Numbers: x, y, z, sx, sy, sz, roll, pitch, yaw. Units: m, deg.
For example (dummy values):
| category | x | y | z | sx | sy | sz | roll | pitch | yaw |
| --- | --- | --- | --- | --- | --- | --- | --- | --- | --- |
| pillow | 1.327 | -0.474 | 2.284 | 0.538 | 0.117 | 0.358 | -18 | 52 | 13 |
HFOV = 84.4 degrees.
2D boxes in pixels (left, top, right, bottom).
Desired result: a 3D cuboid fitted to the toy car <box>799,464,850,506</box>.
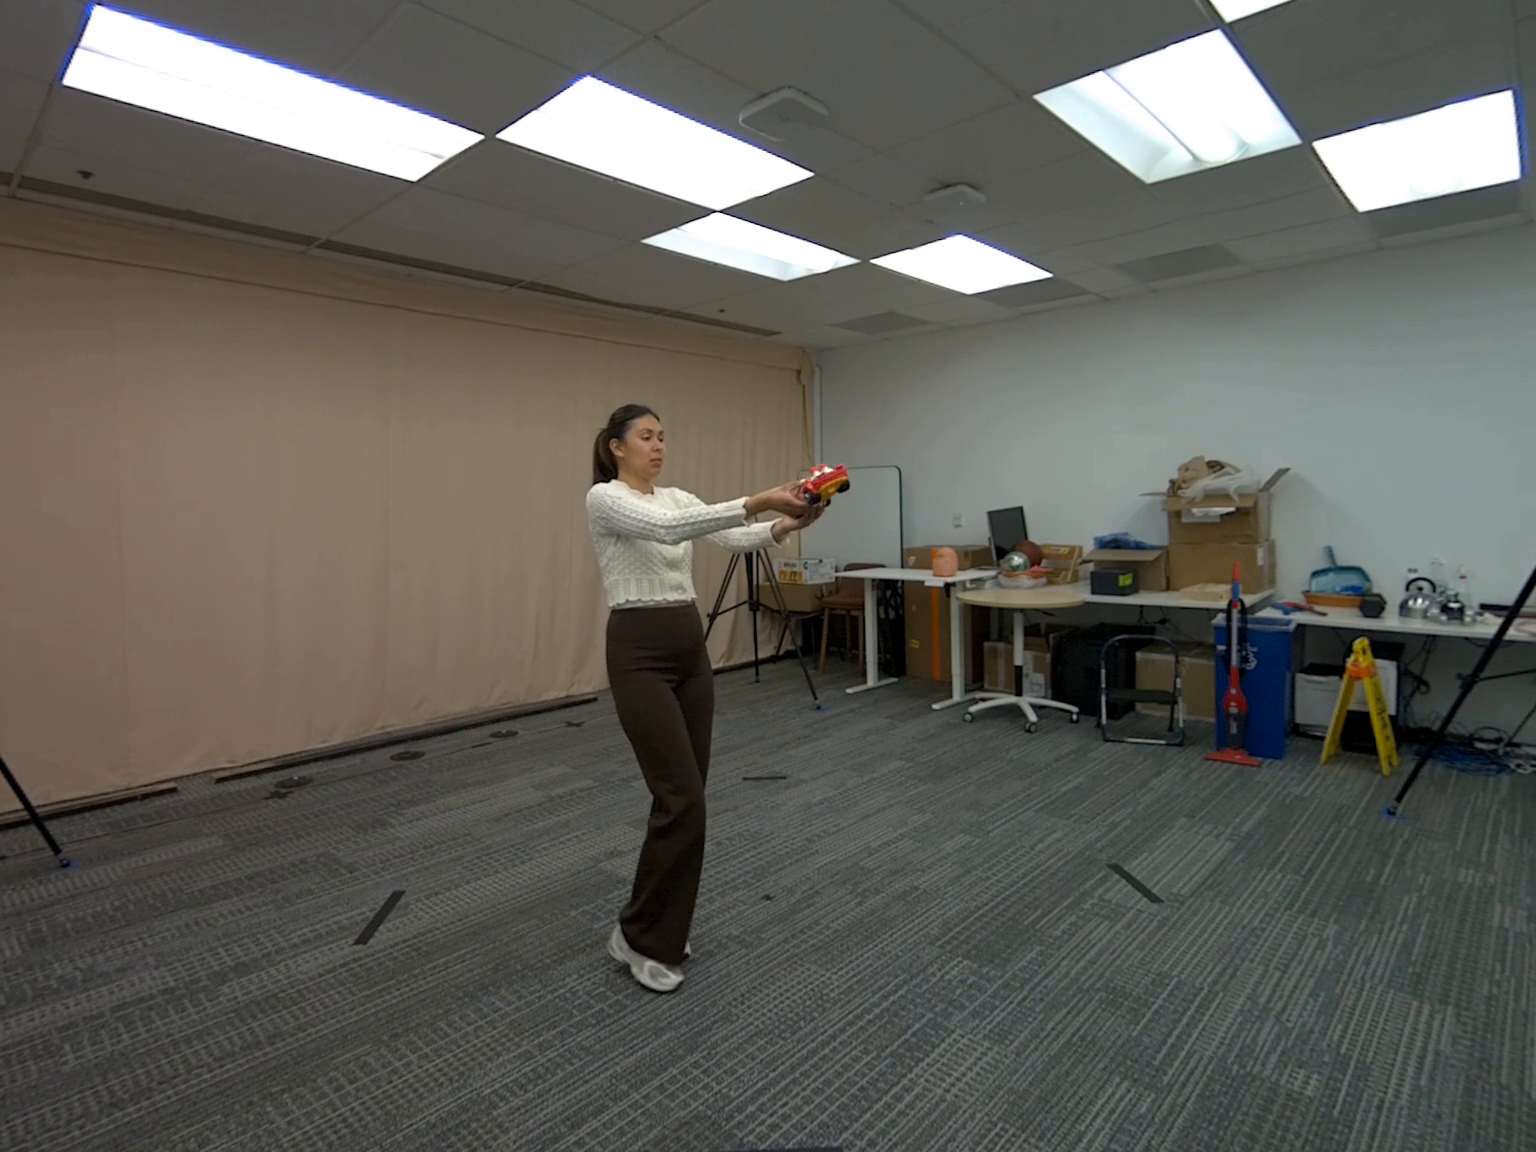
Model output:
| category | x | y | z | sx | sy | sz | roll | pitch | yaw |
| --- | --- | --- | --- | --- | --- | --- | --- | --- | --- |
| toy car | 0.129 | -0.221 | 2.208 | 0.129 | 0.084 | 0.253 | -23 | -16 | -18 |
